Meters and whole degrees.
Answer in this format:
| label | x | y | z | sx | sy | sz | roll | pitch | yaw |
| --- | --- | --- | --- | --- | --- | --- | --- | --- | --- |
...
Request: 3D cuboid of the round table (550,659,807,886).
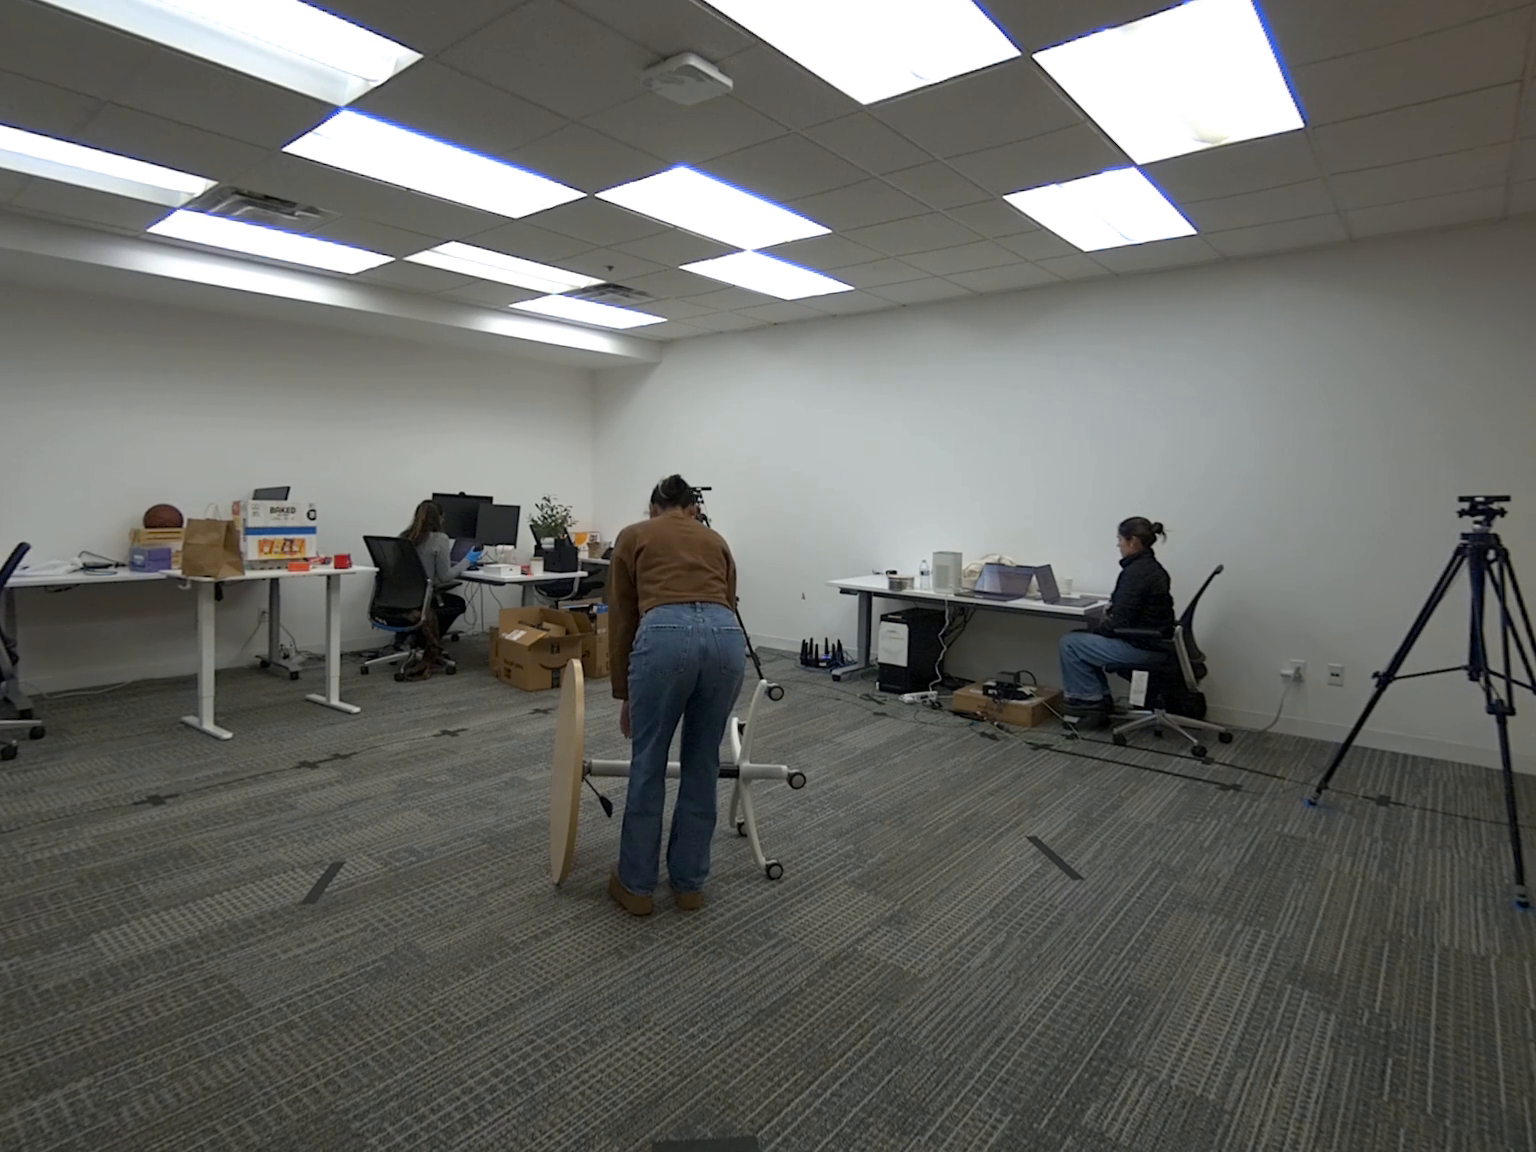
| label | x | y | z | sx | sy | sz | roll | pitch | yaw |
| --- | --- | --- | --- | --- | --- | --- | --- | --- | --- |
| round table | -0.365 | 0.724 | 3.131 | 0.781 | 0.763 | 0.778 | 5 | 3 | -16 |
